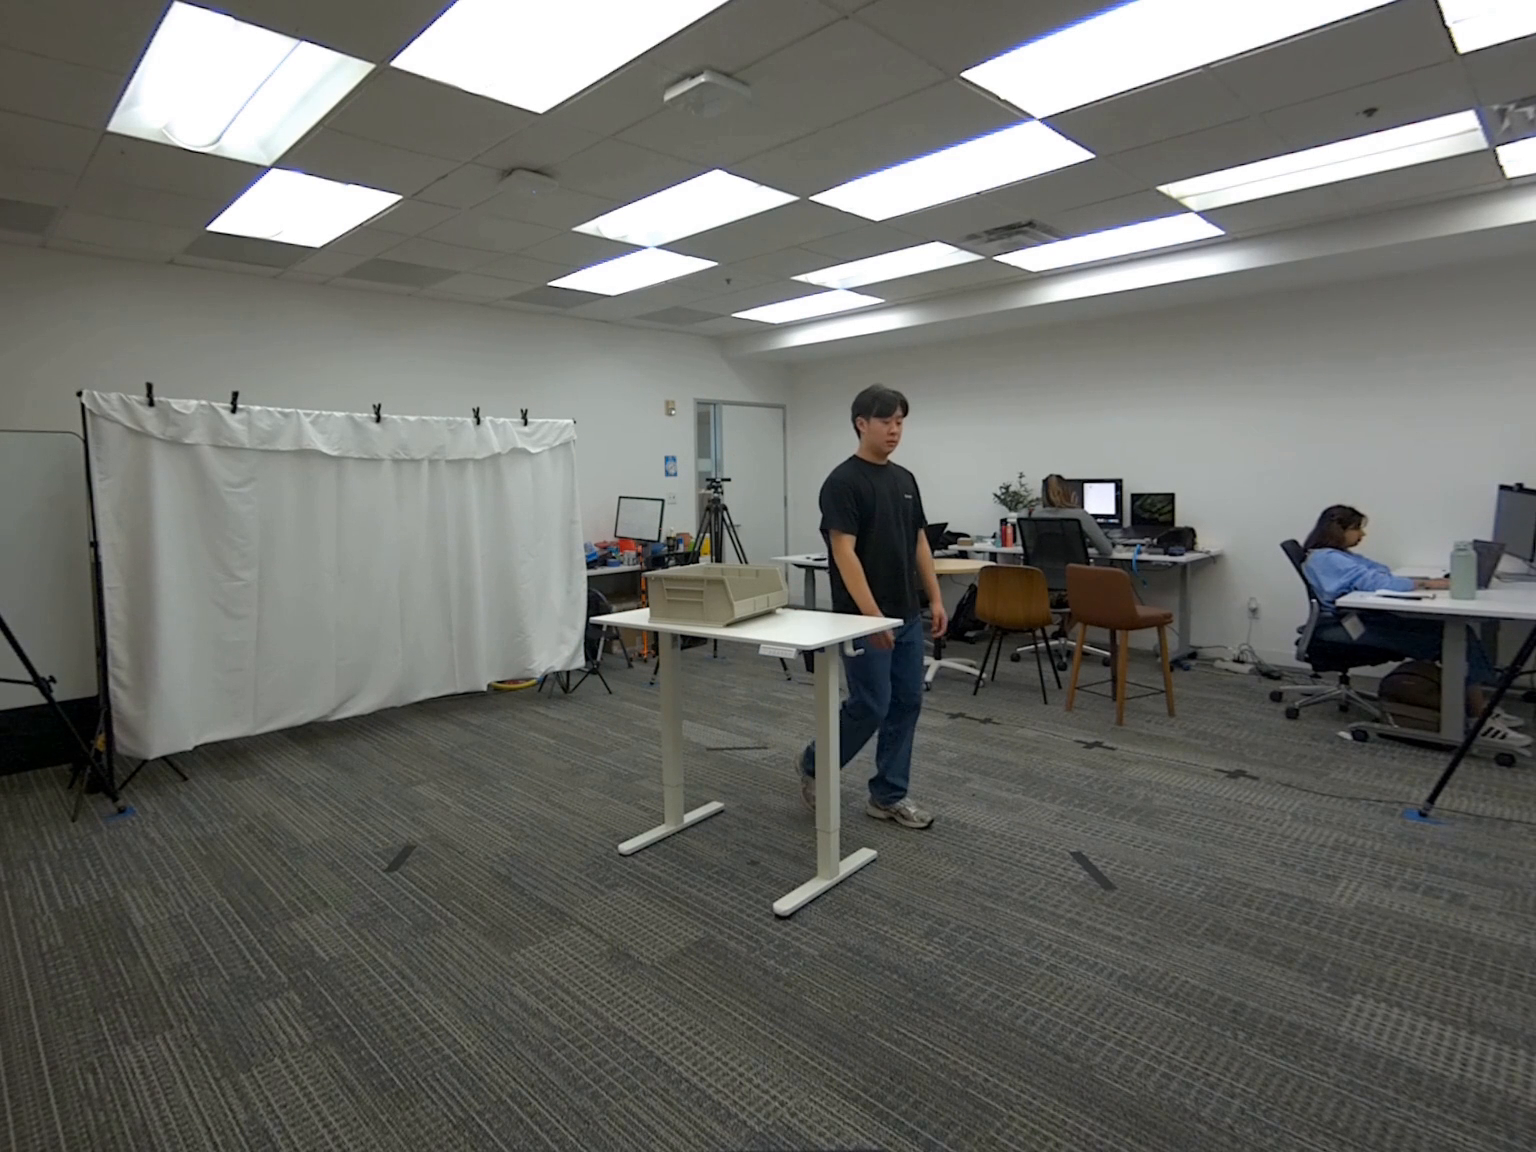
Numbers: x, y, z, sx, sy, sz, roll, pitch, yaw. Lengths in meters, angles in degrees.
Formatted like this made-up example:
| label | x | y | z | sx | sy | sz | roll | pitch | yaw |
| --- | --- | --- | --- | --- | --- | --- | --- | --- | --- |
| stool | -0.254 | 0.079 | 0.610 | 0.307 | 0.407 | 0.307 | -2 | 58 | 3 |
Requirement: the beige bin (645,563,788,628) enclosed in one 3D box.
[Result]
| label | x | y | z | sx | sy | sz | roll | pitch | yaw |
| --- | --- | --- | --- | --- | --- | --- | --- | --- | --- |
| beige bin | -0.184 | 0.068 | 3.169 | 0.387 | 0.188 | 0.413 | 1 | 6 | 29 |
